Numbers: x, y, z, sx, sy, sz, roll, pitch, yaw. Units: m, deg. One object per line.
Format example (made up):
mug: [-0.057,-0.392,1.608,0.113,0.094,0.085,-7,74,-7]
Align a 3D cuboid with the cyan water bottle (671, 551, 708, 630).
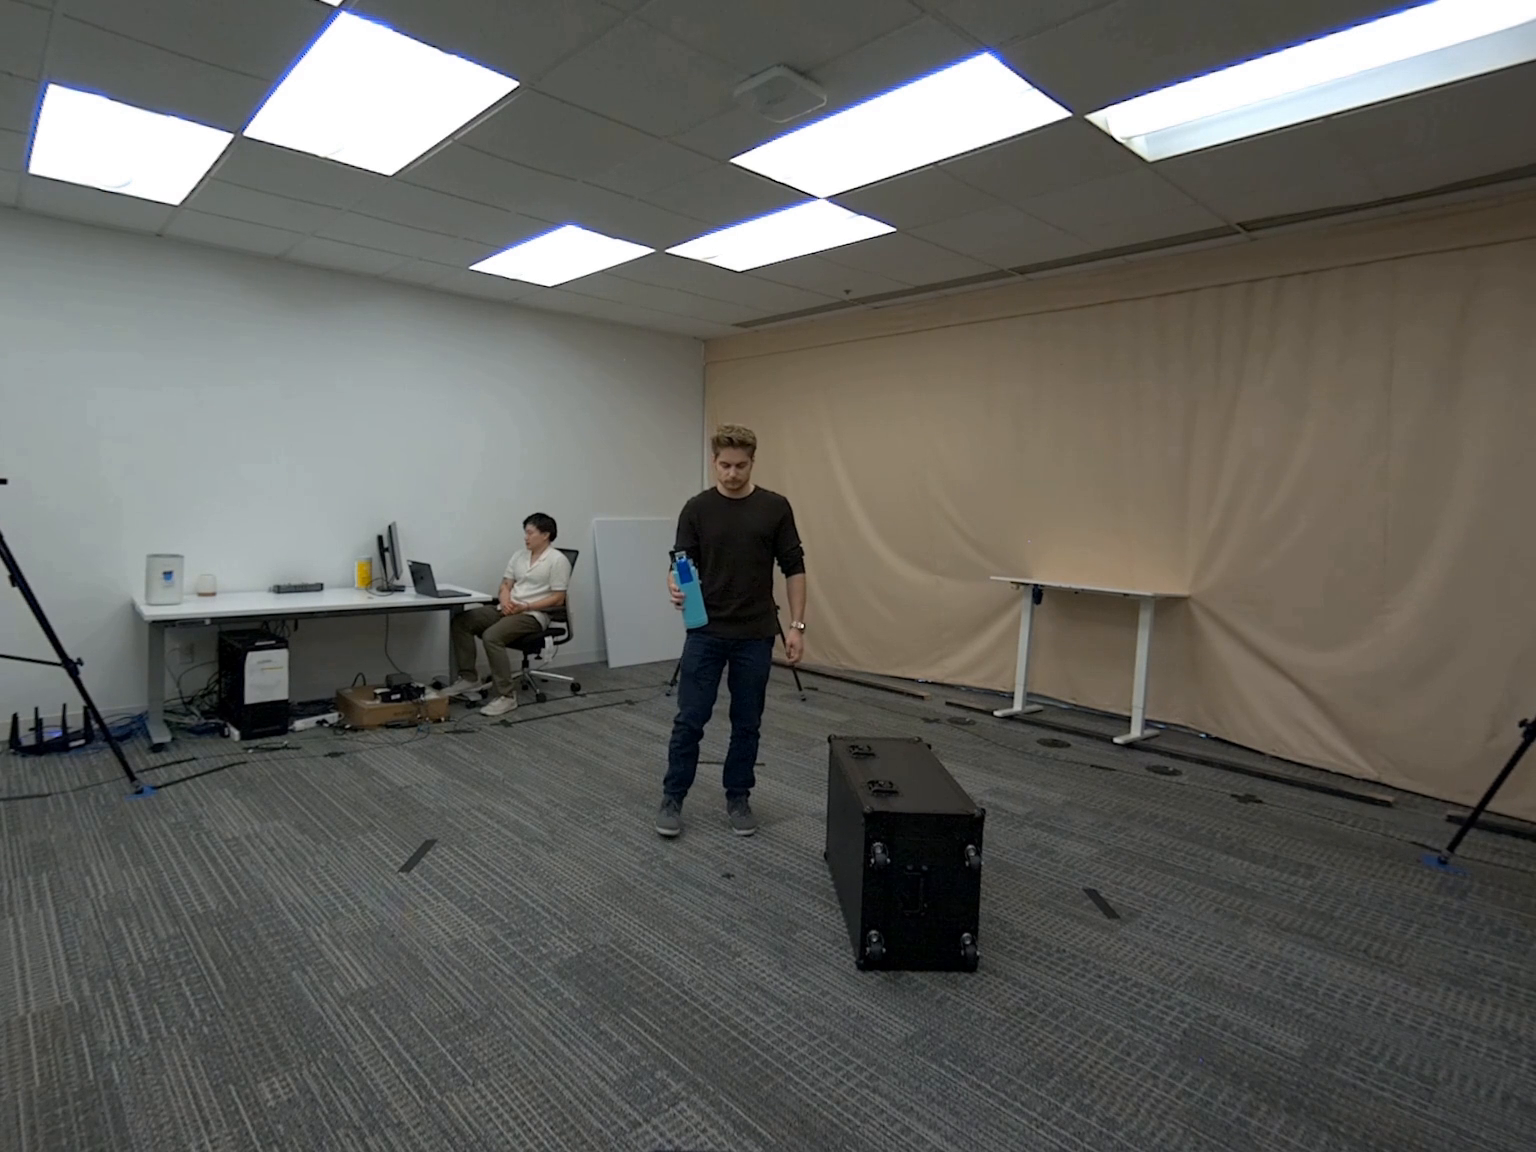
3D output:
cyan water bottle: [-0.316,0.050,3.180,0.092,0.281,0.093,-8,11,0]
